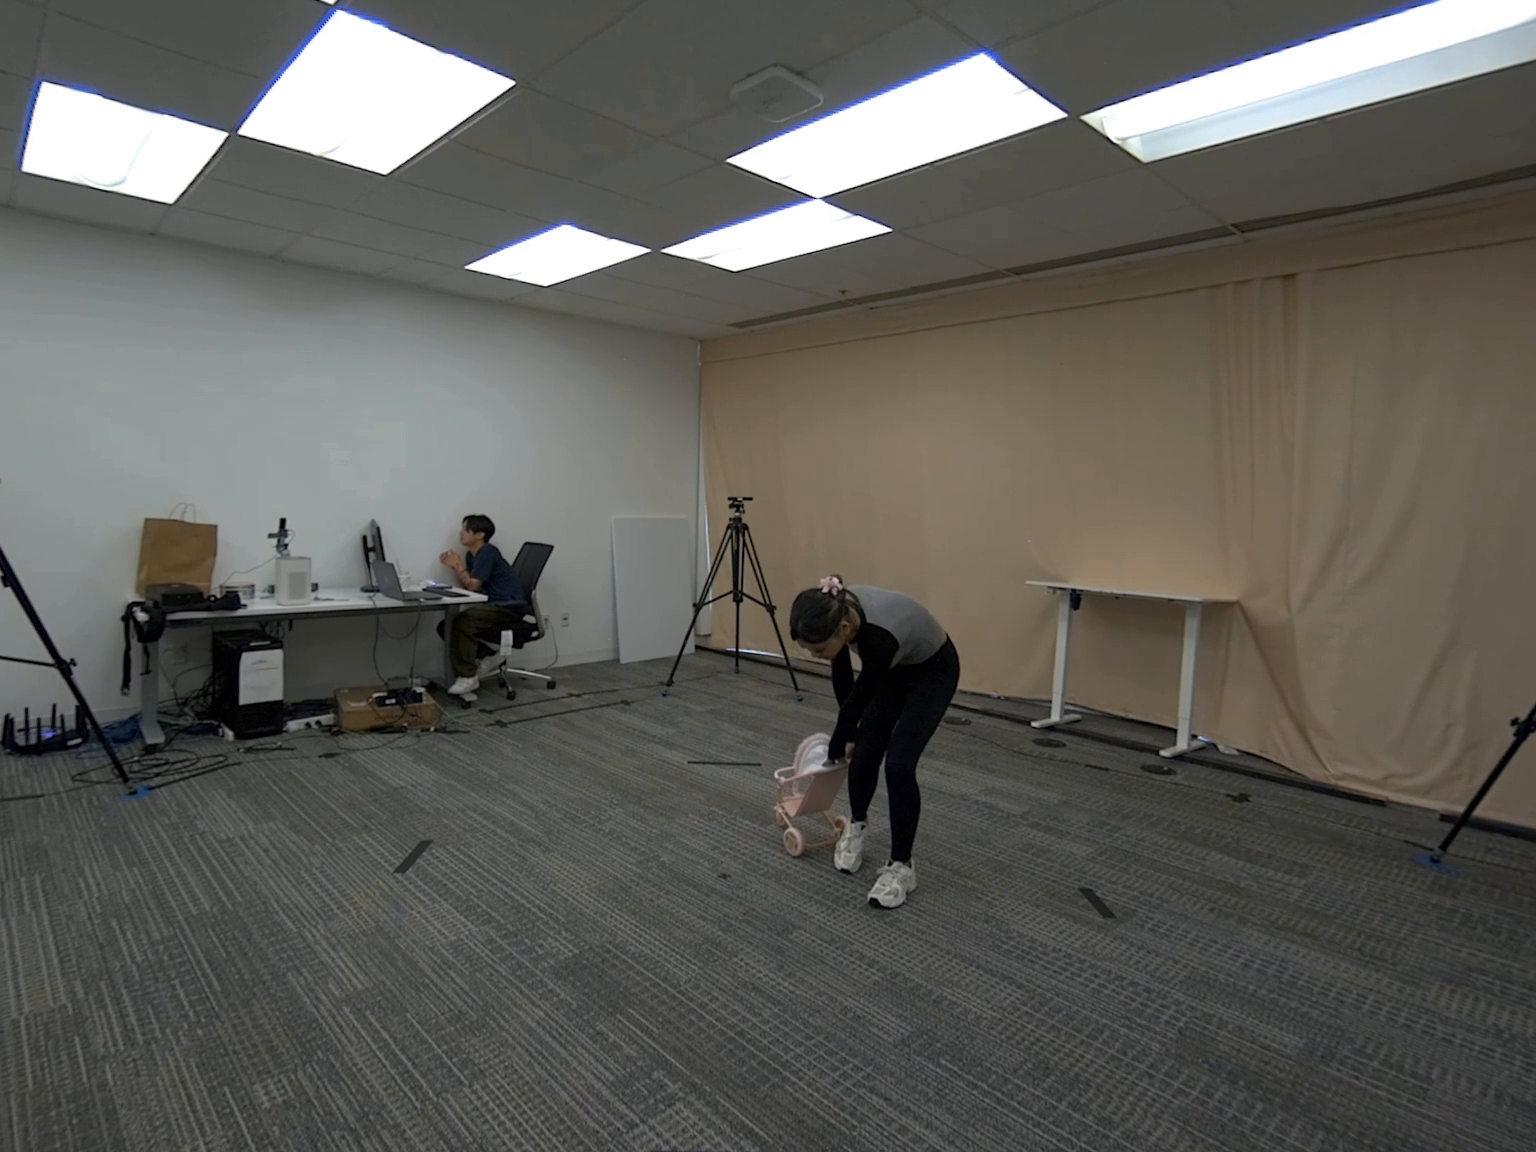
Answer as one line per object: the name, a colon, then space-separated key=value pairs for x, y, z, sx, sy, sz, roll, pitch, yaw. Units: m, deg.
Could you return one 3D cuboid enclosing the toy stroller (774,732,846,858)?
toy stroller: x=0.169 y=0.861 z=3.394 sx=0.276 sy=0.529 sz=0.352 roll=-1 pitch=24 yaw=-30
